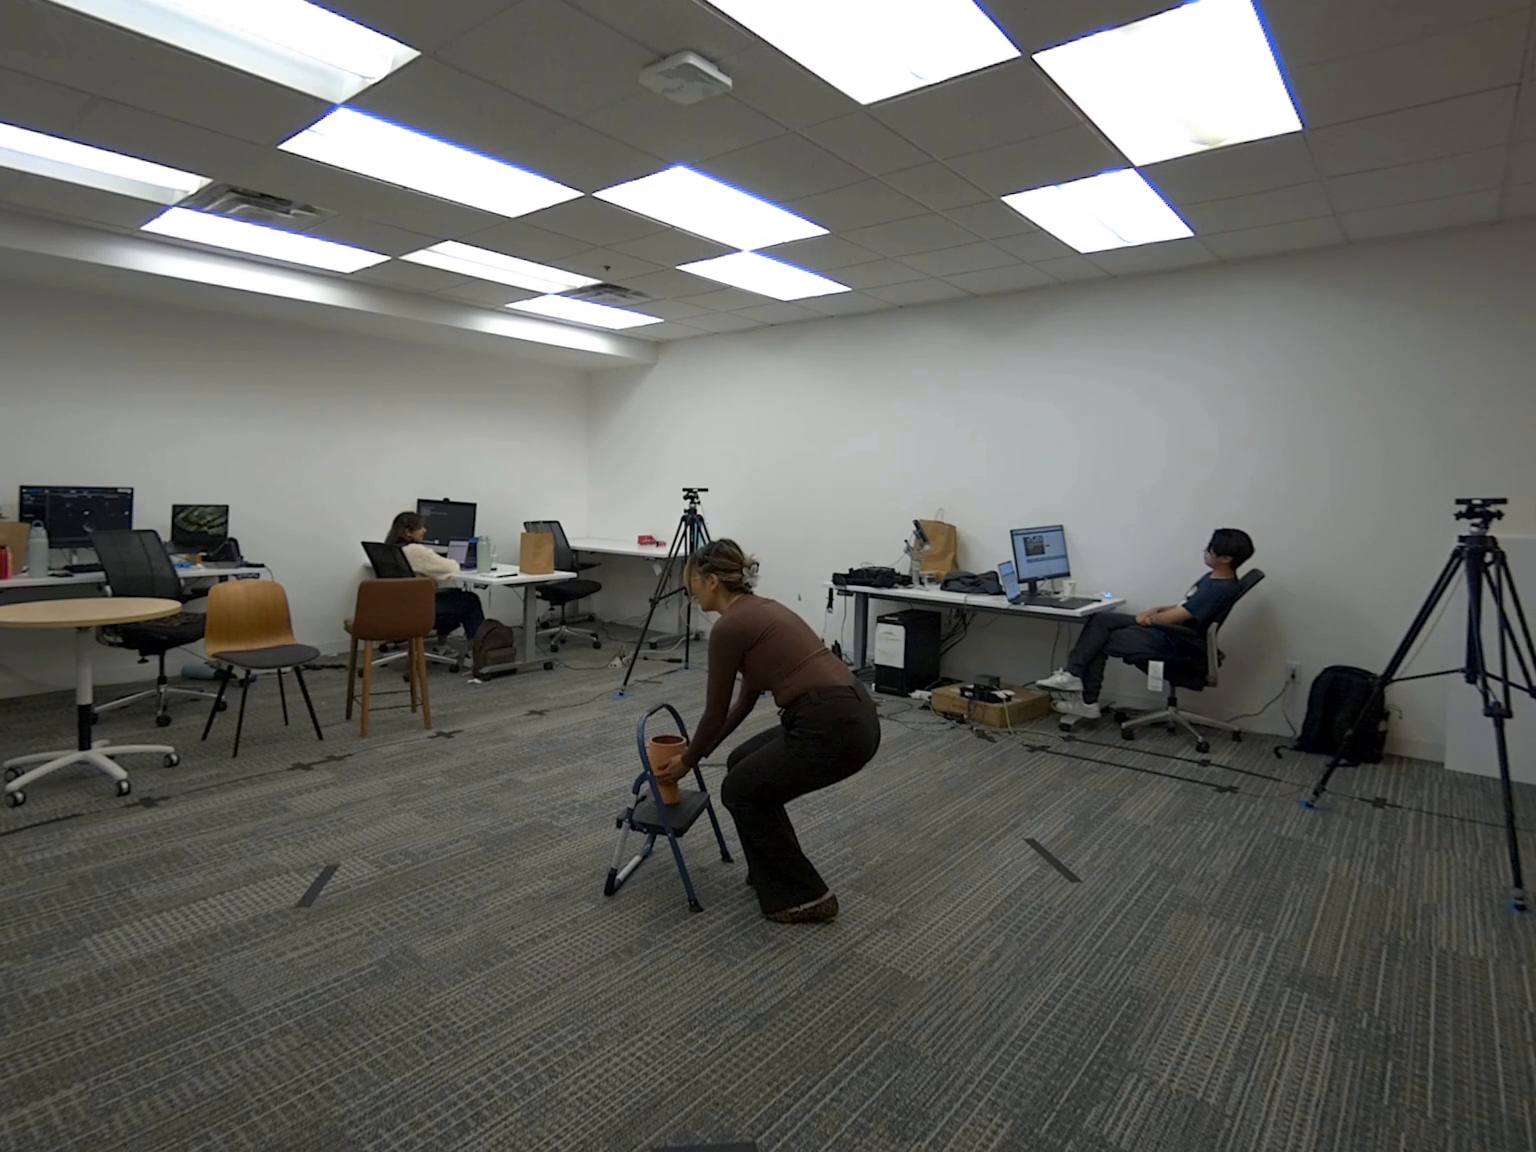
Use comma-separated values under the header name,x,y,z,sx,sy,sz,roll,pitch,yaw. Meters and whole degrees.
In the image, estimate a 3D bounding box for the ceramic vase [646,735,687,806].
name,x,y,z,sx,sy,sz,roll,pitch,yaw
ceramic vase,-0.372,0.699,3.069,0.130,0.219,0.164,-2,6,-44
